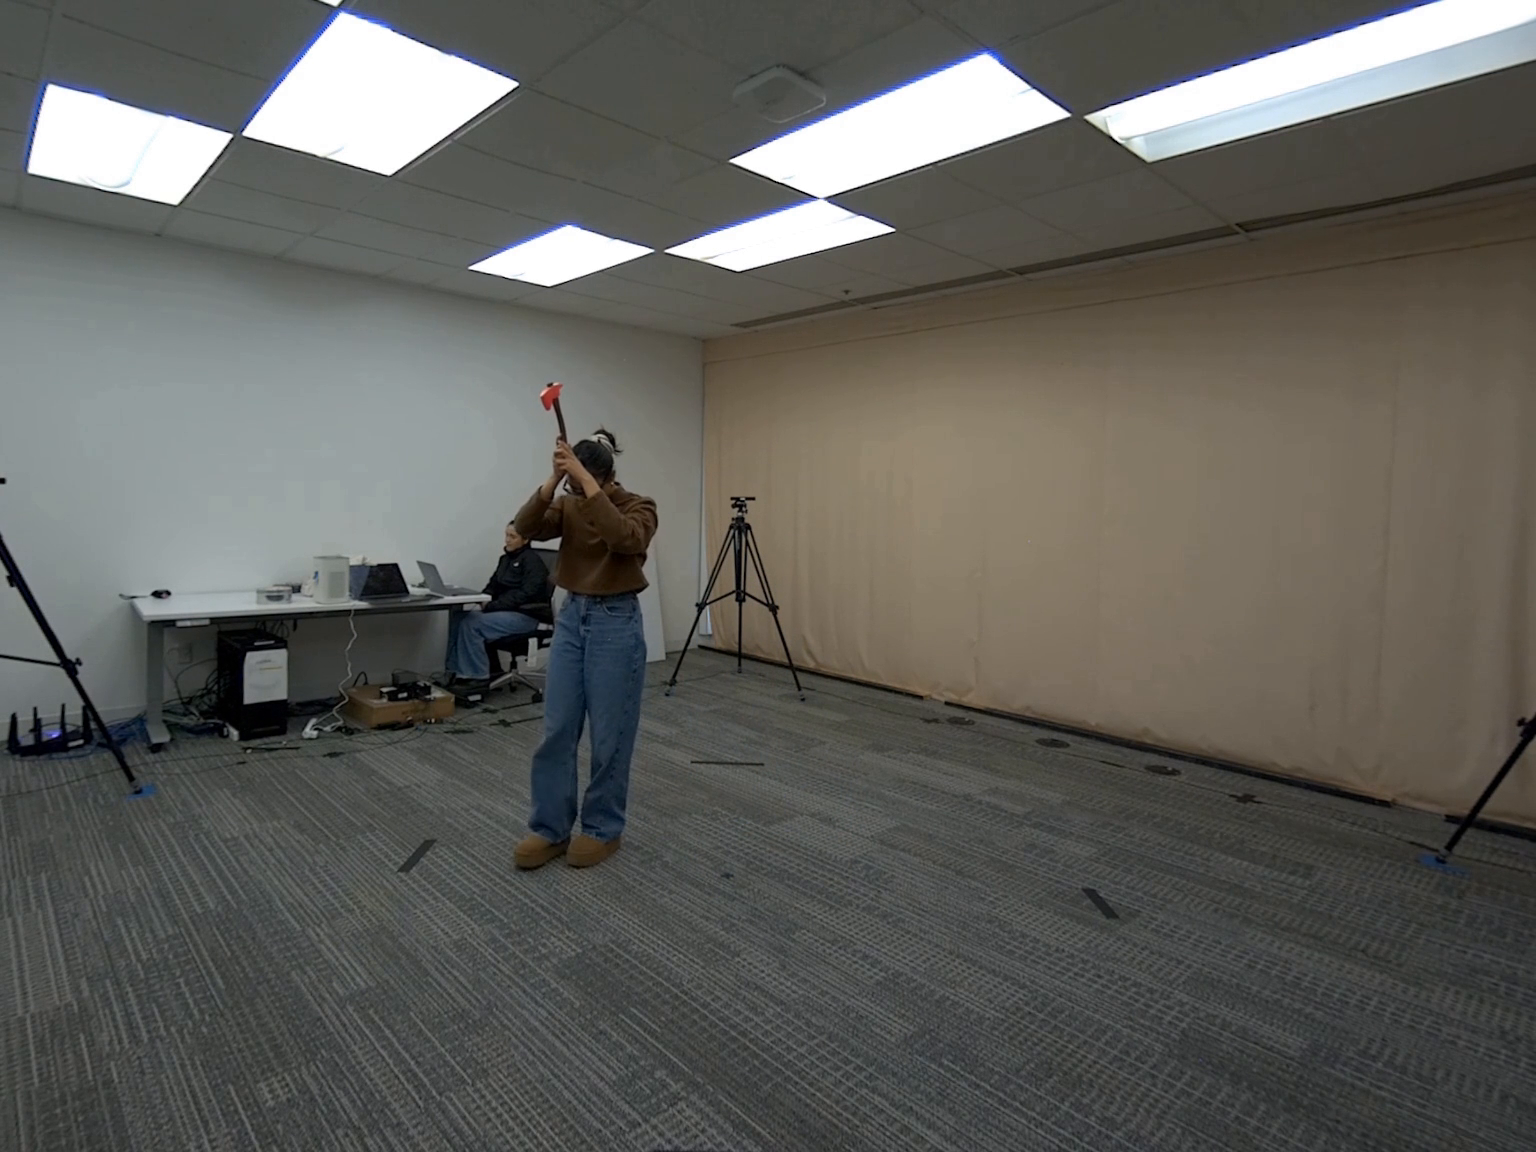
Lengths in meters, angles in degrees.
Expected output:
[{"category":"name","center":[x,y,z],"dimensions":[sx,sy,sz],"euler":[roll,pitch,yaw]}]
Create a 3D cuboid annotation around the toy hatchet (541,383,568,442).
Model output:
[{"category":"toy hatchet","center":[-0.750,-0.536,2.905],"dimensions":[0.030,0.267,0.130],"euler":[-1,12,16]}]
